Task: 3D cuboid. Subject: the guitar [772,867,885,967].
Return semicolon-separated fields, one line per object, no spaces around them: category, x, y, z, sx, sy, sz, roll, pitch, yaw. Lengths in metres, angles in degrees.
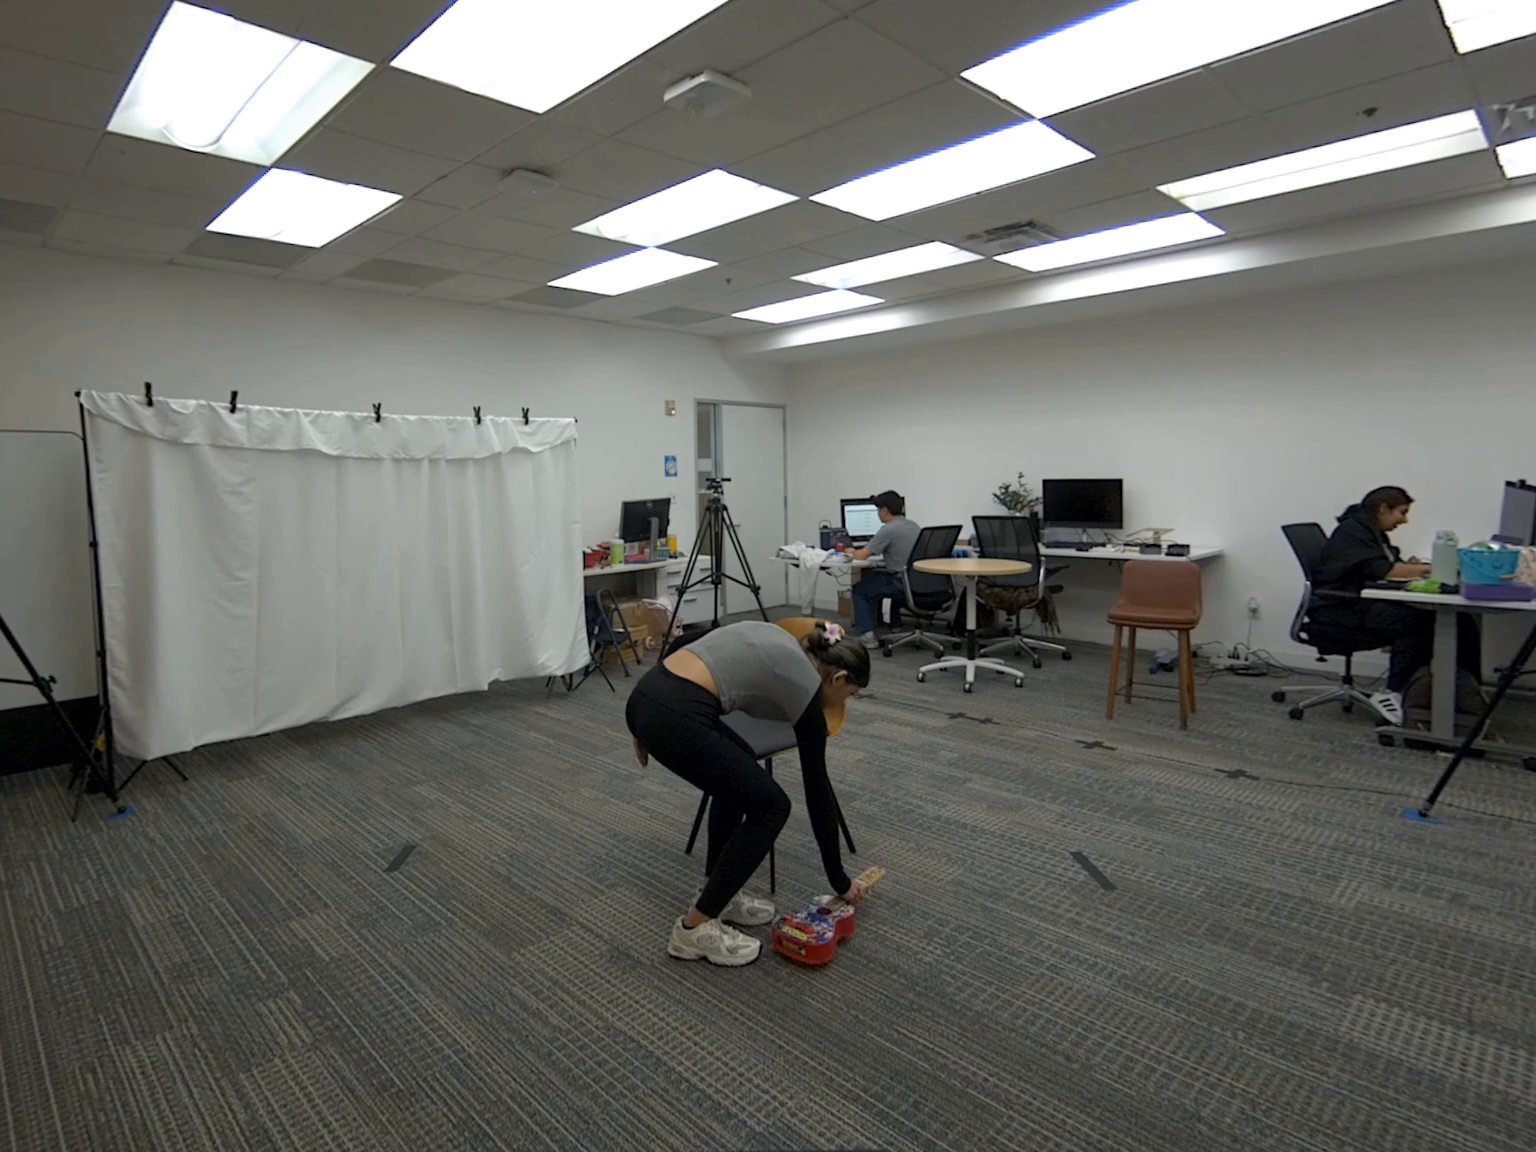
guitar;0.233;1.018;2.613;0.486;0.070;0.199;-12;14;-42
